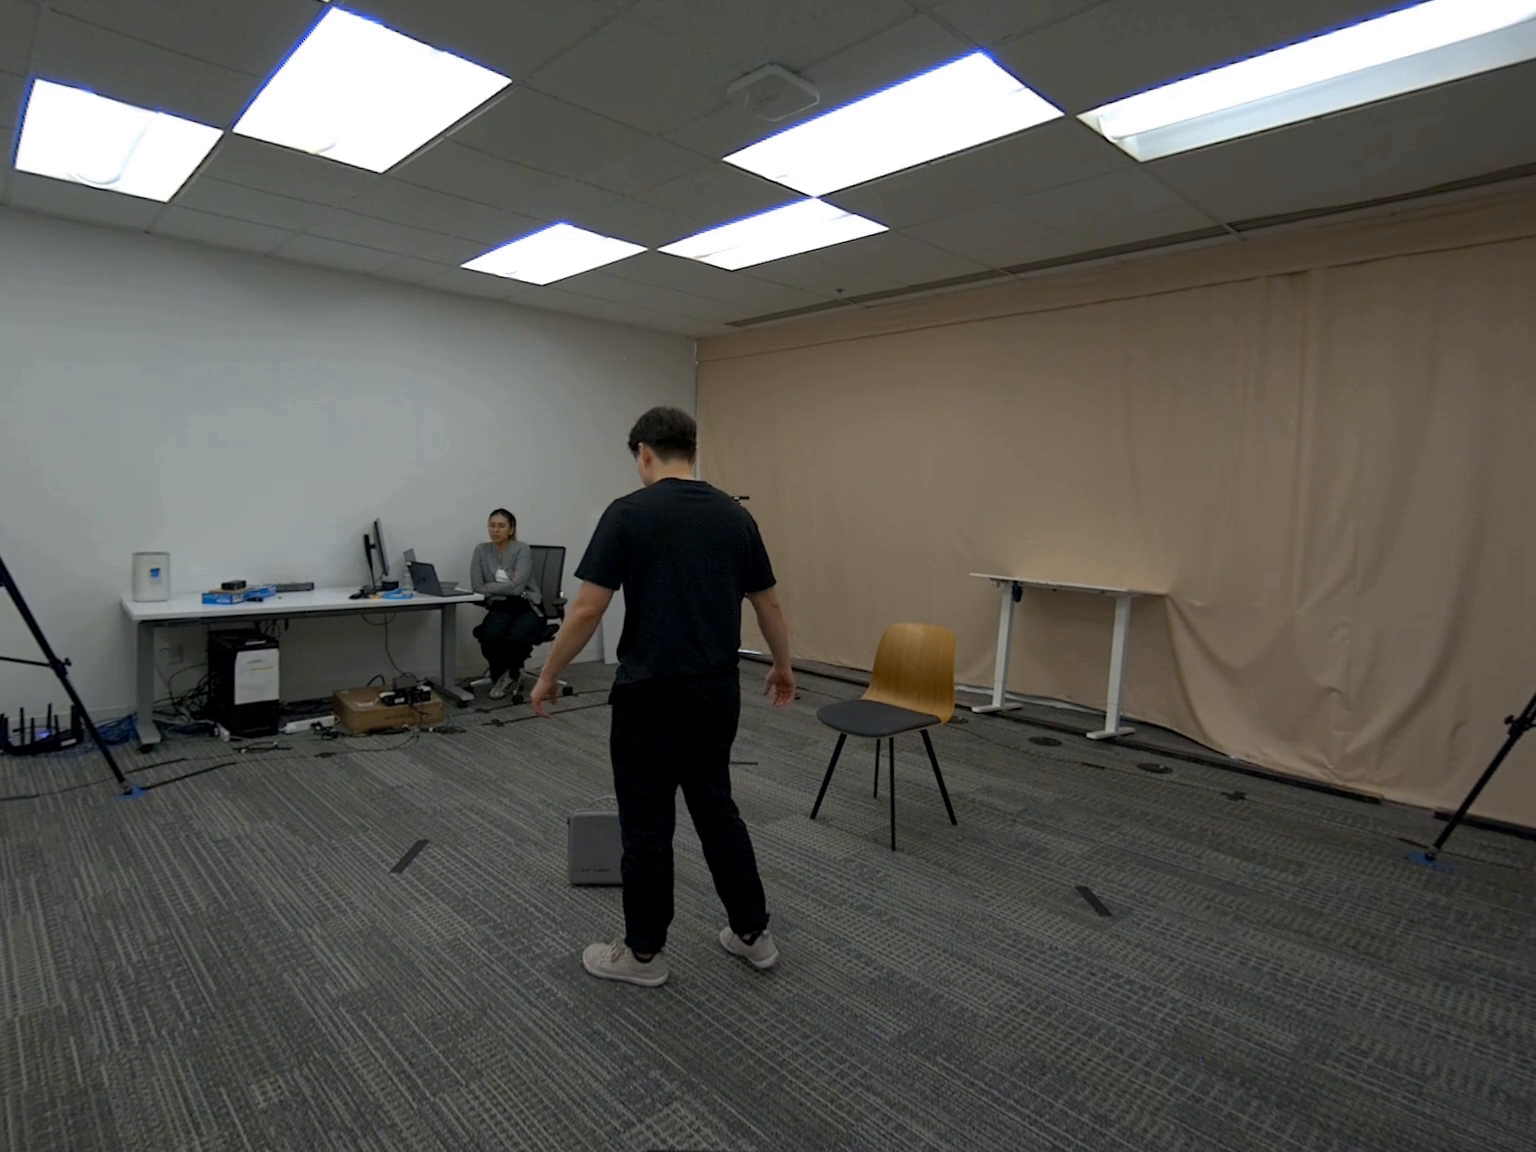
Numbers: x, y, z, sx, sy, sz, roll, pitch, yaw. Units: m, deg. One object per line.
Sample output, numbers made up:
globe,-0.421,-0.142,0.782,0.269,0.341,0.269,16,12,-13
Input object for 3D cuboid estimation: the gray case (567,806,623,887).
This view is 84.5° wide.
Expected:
gray case,-0.599,0.967,3.037,0.256,0.261,0.104,2,-5,-4
